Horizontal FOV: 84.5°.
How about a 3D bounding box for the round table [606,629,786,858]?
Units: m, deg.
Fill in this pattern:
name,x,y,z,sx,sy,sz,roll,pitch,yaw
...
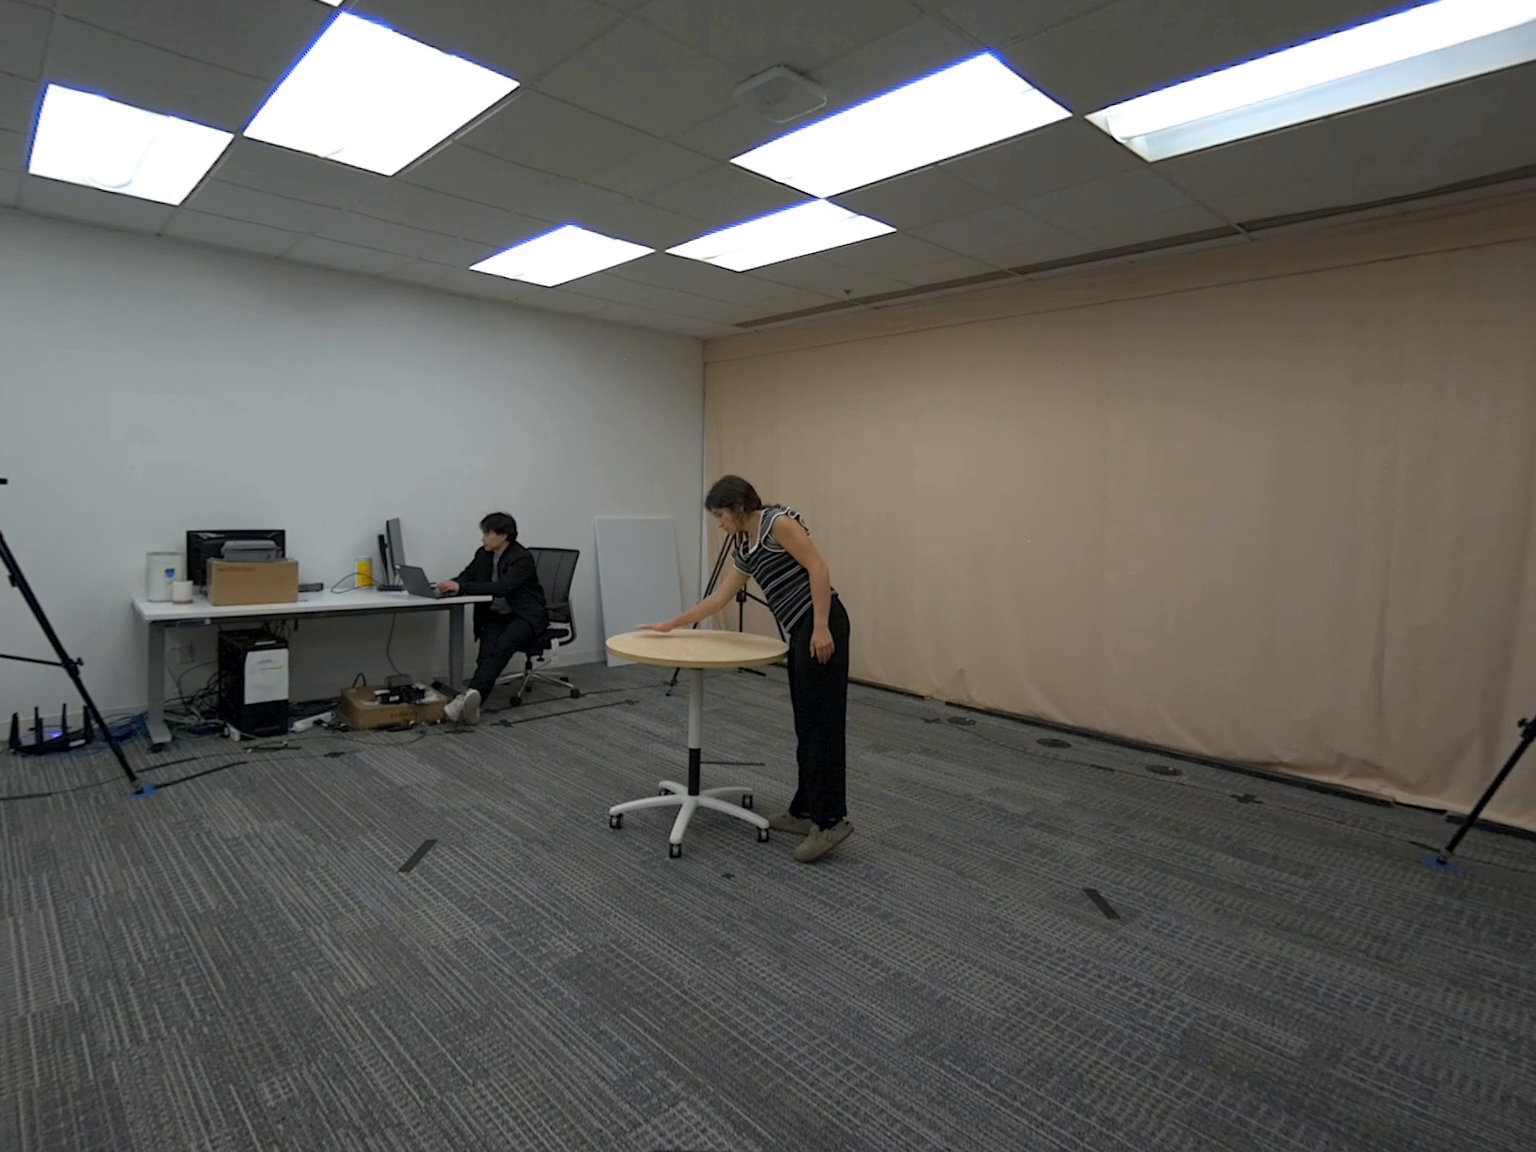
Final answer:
name,x,y,z,sx,sy,sz,roll,pitch,yaw
round table,-0.319,0.673,3.548,0.763,0.792,0.766,2,4,-1
